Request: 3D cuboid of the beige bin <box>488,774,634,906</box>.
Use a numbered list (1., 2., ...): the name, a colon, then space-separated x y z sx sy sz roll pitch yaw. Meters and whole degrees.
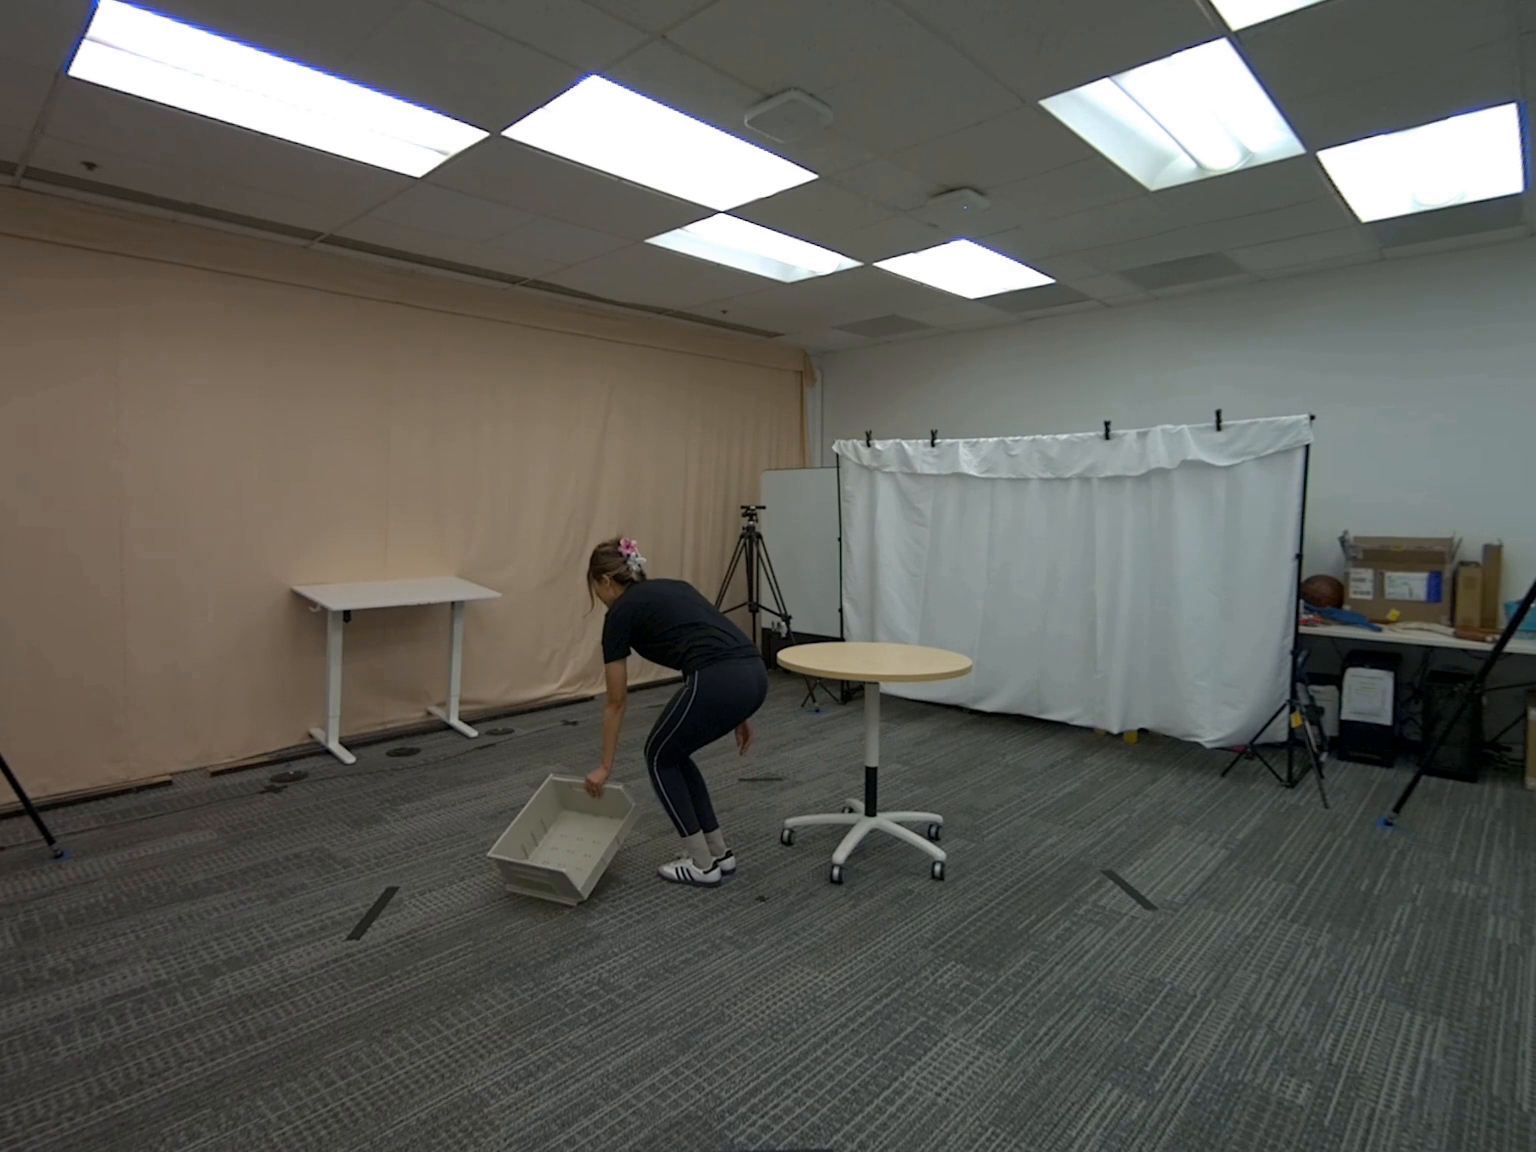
1. beige bin: -0.741 0.964 3.109 0.386 0.185 0.421 -3 29 24
